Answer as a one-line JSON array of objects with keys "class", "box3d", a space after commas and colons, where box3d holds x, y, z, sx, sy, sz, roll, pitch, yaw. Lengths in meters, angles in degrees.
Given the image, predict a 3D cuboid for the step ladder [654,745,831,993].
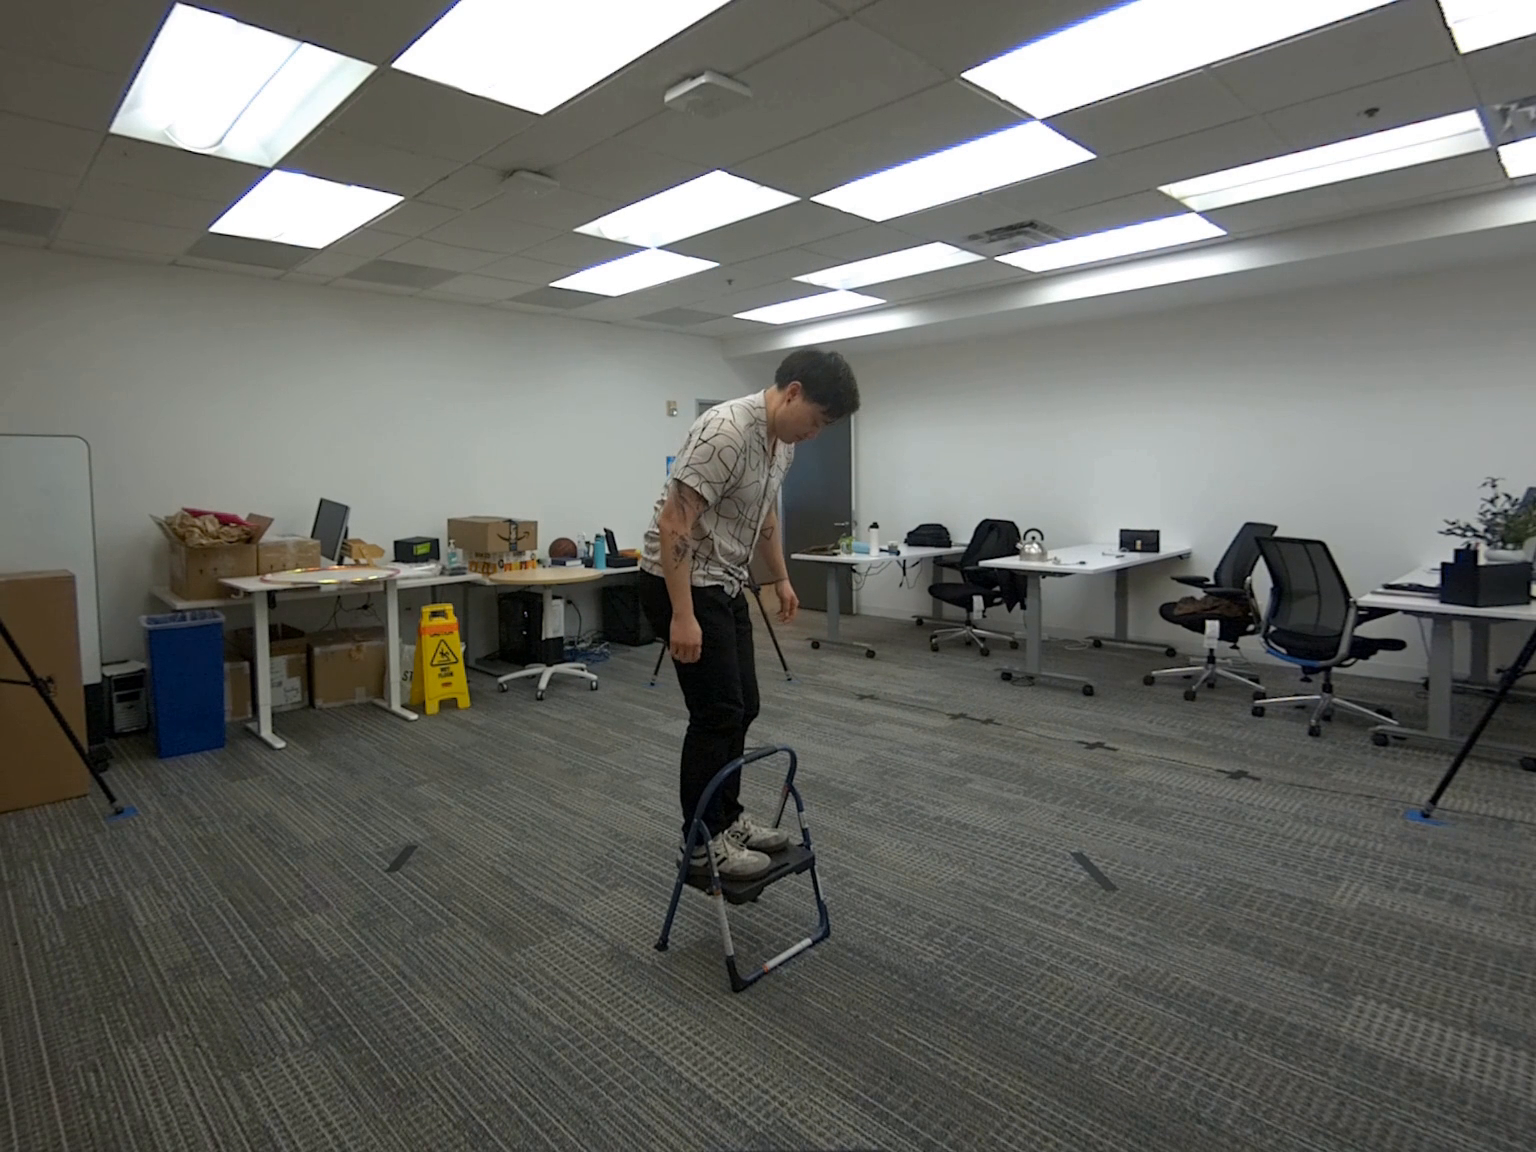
[{"class": "step ladder", "box3d": [-0.071, 0.804, 2.567, 0.360, 0.603, 0.419, 4, 7, 43]}]
